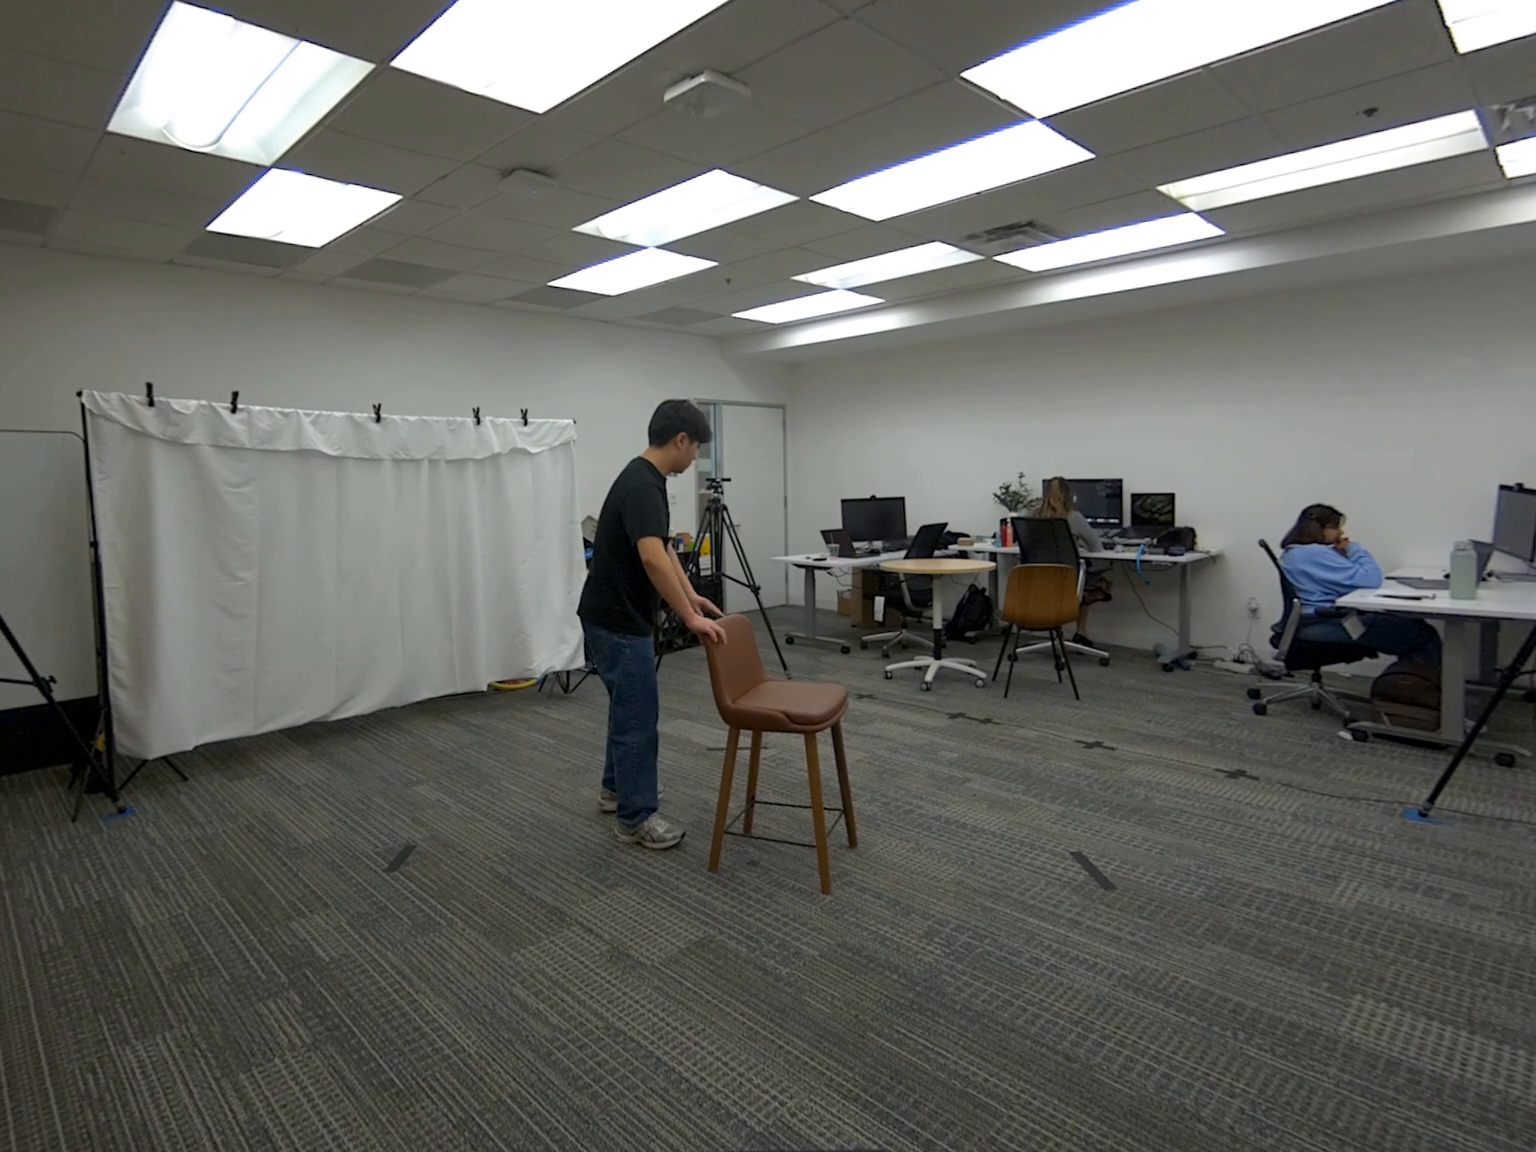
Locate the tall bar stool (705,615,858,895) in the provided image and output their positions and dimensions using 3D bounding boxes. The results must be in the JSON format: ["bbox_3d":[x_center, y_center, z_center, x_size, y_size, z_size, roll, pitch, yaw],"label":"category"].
[{"bbox_3d":[0.049,0.605,3.109,0.477,0.888,0.448,-2,3,22],"label":"tall bar stool"}]
